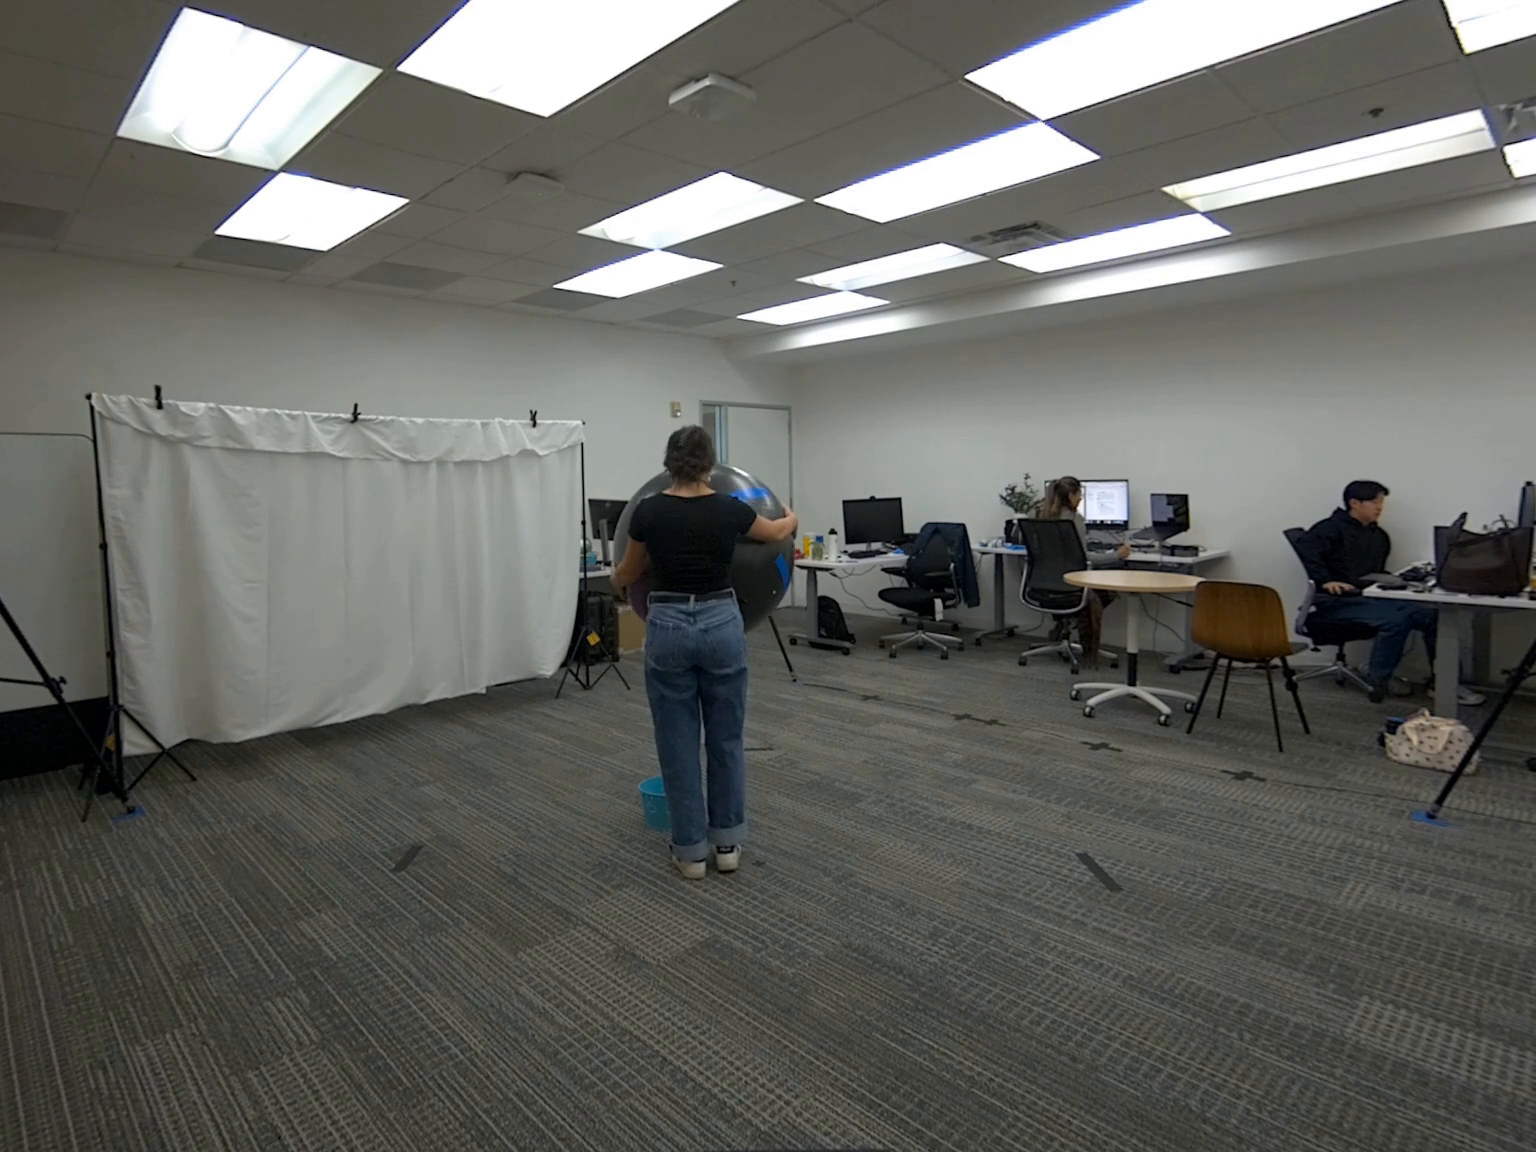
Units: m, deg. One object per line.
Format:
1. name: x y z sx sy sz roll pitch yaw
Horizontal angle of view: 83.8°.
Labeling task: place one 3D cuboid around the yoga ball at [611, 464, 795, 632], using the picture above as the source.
1. yoga ball: -0.277 -0.089 3.588 0.757 0.755 0.762 -1 5 -2
